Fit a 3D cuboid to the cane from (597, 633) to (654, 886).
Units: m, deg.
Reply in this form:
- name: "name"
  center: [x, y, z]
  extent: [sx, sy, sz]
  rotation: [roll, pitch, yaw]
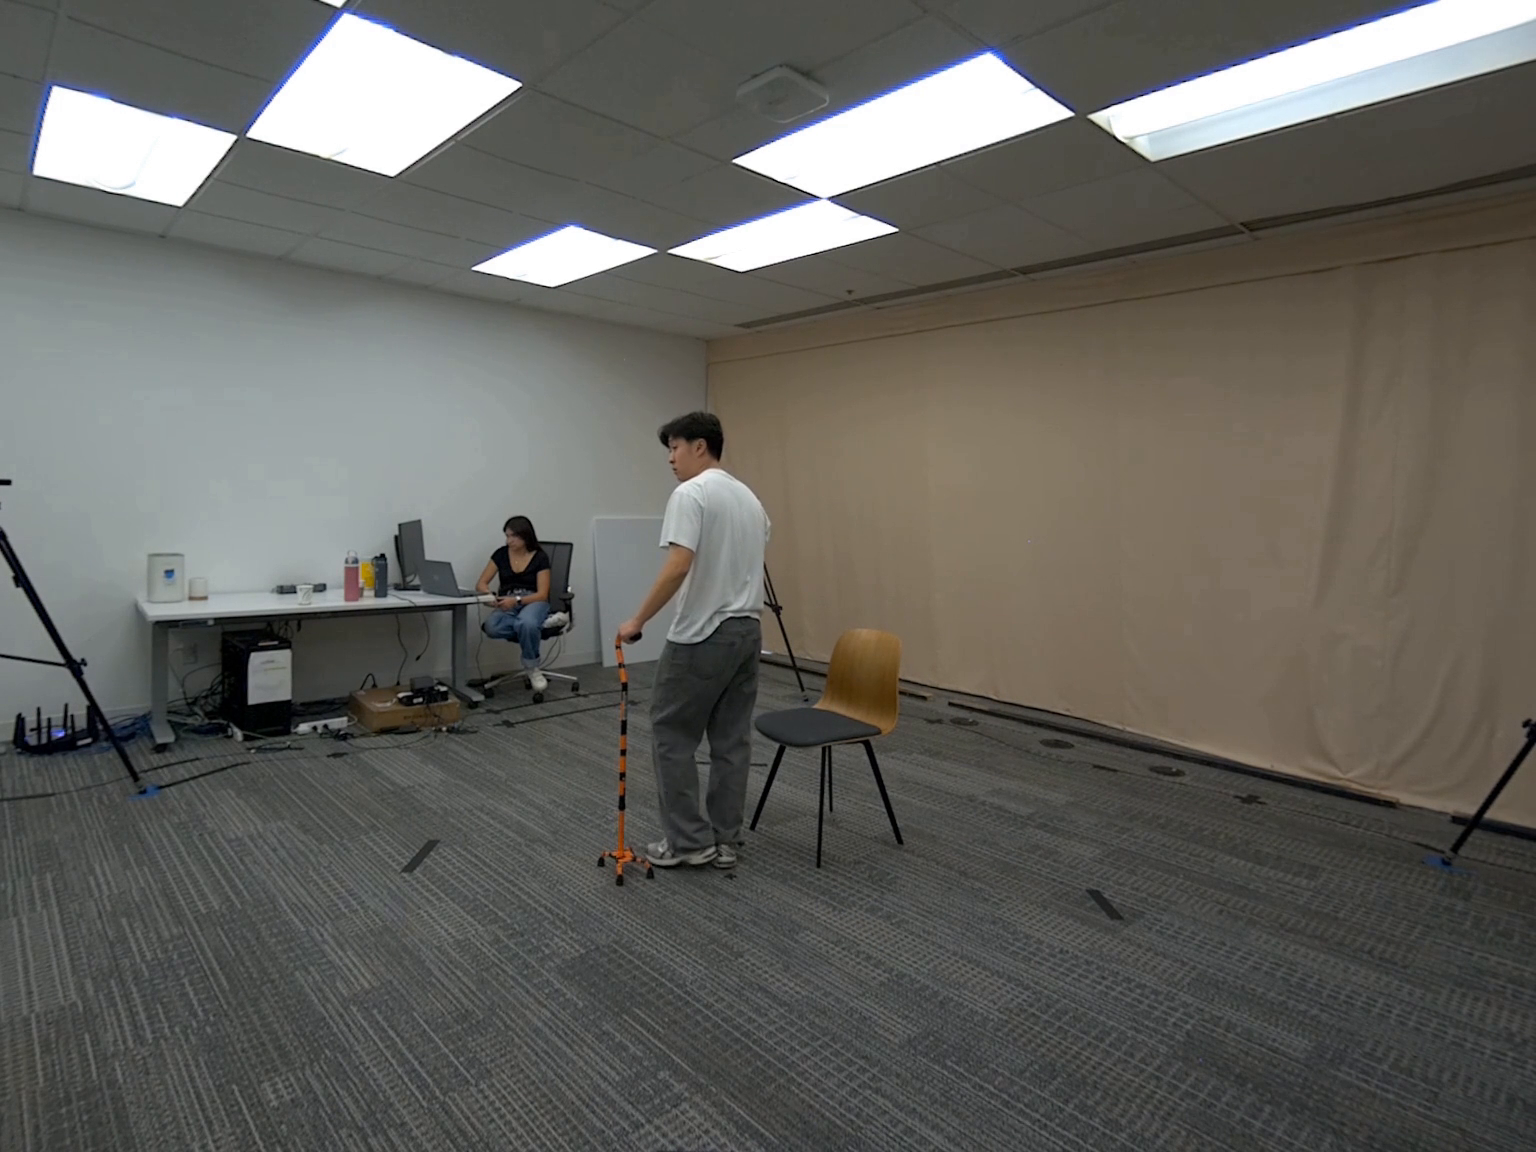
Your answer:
- name: "cane"
  center: [-0.528, 0.643, 3.100]
  extent: [0.148, 0.906, 0.211]
  rotation: [-1, 3, -33]
